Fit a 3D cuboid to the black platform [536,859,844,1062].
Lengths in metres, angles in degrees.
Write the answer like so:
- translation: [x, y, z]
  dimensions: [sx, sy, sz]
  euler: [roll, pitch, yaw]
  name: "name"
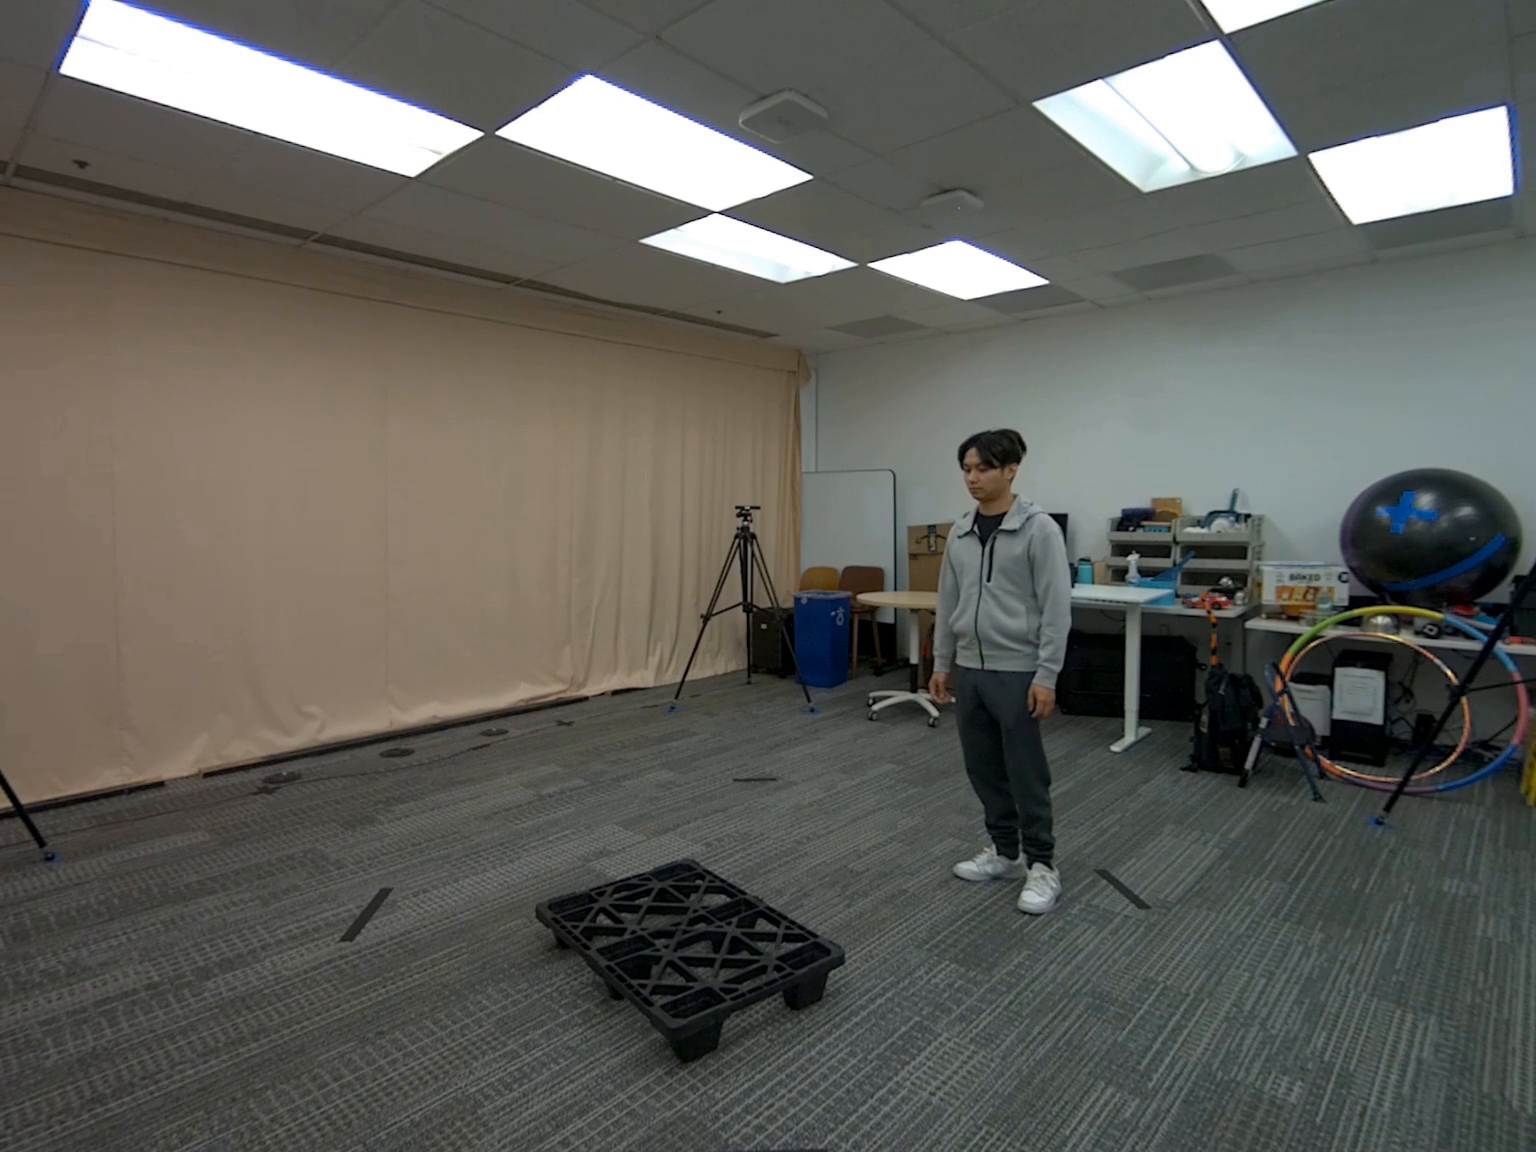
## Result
- translation: [-0.258, 1.120, 2.527]
  dimensions: [0.587, 0.143, 0.832]
  euler: [-3, 6, -38]
  name: "black platform"
